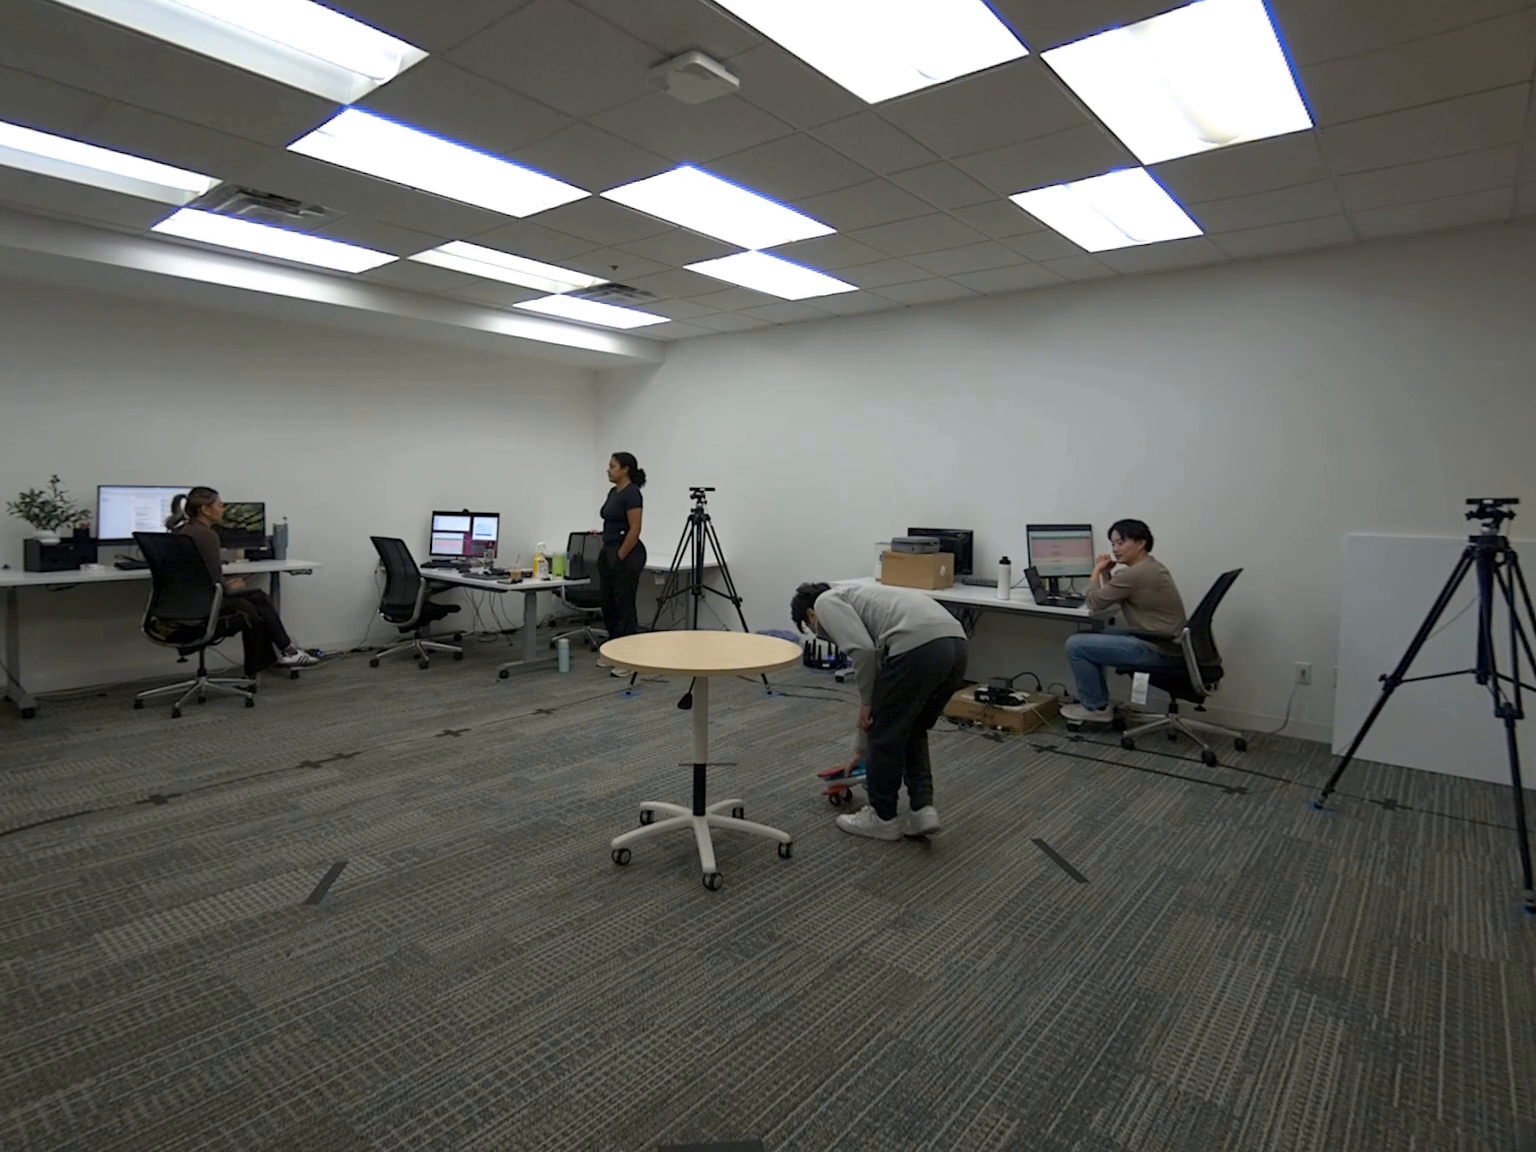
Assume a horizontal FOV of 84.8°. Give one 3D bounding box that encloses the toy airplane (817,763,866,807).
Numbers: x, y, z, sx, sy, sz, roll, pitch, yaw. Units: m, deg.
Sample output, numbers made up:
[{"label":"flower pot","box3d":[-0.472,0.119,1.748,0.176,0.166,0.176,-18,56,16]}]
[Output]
[{"label":"toy airplane","box3d":[0.360,0.902,3.786,0.260,0.160,0.243,-28,-19,11]}]
